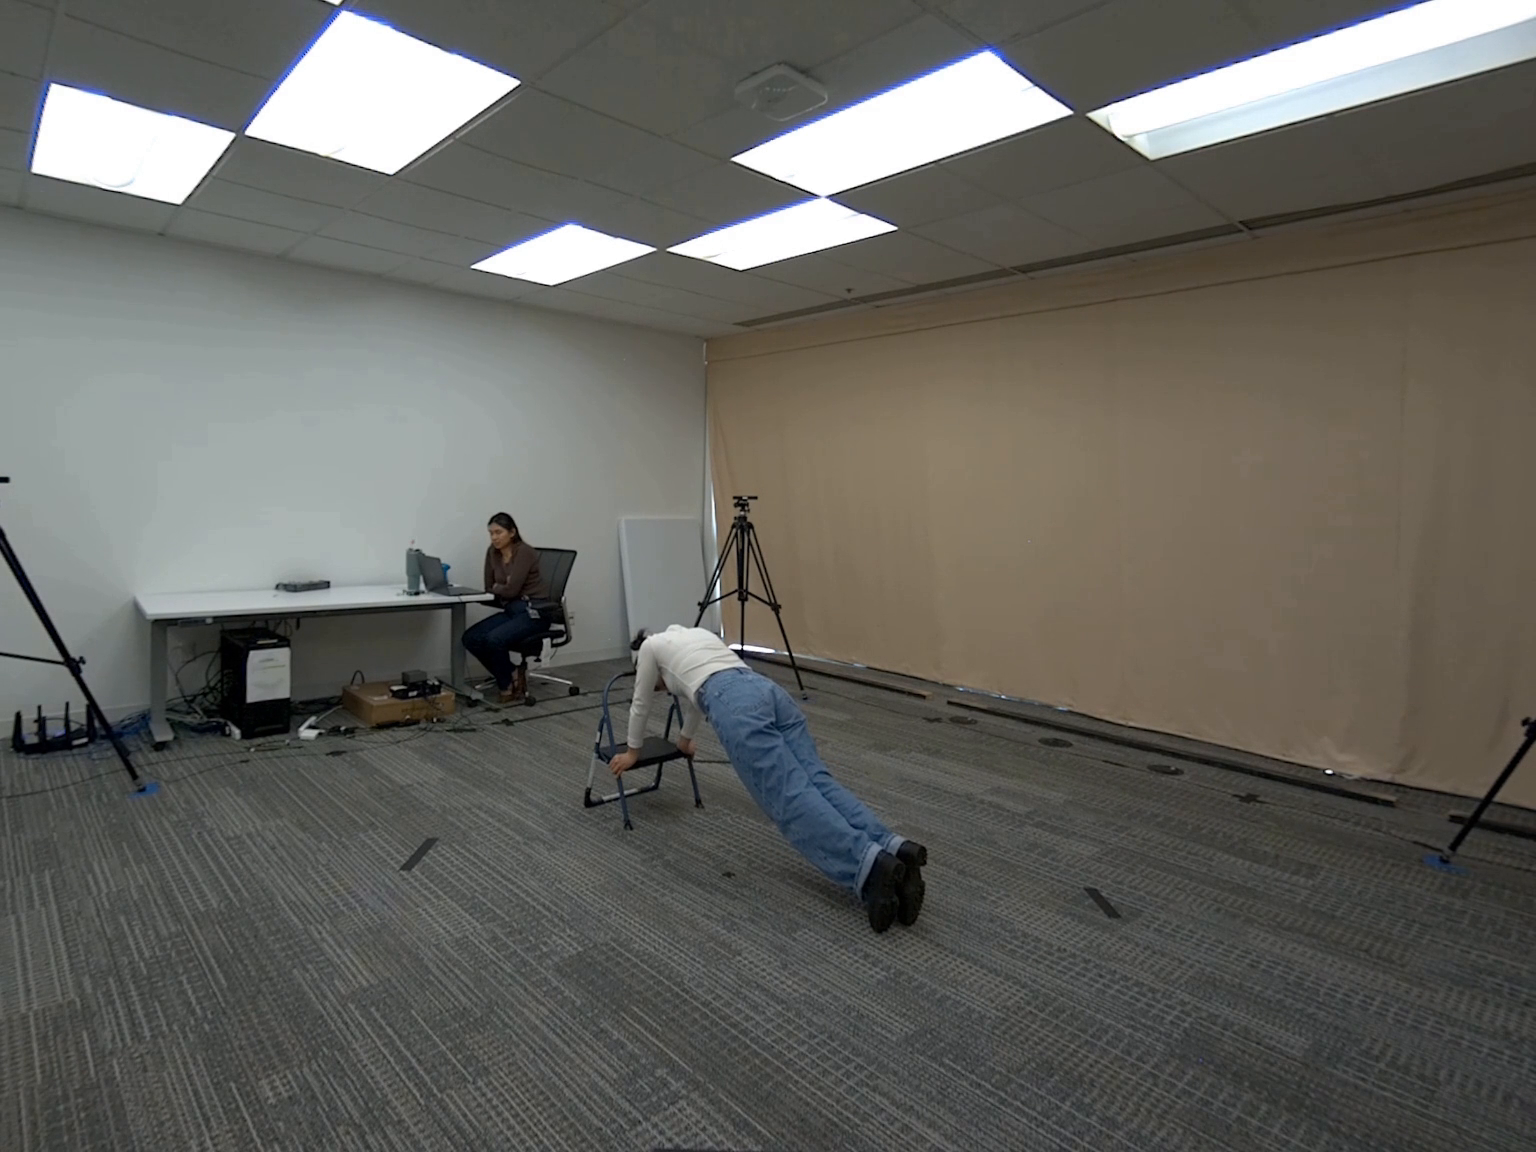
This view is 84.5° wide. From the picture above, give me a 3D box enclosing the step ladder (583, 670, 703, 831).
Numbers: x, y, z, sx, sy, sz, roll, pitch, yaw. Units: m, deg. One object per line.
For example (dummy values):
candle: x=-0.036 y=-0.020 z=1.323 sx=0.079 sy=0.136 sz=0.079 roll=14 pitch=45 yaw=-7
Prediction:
step ladder: x=-0.559 y=0.737 z=3.755 sx=0.358 sy=0.605 sz=0.421 roll=5 pitch=5 yaw=45
